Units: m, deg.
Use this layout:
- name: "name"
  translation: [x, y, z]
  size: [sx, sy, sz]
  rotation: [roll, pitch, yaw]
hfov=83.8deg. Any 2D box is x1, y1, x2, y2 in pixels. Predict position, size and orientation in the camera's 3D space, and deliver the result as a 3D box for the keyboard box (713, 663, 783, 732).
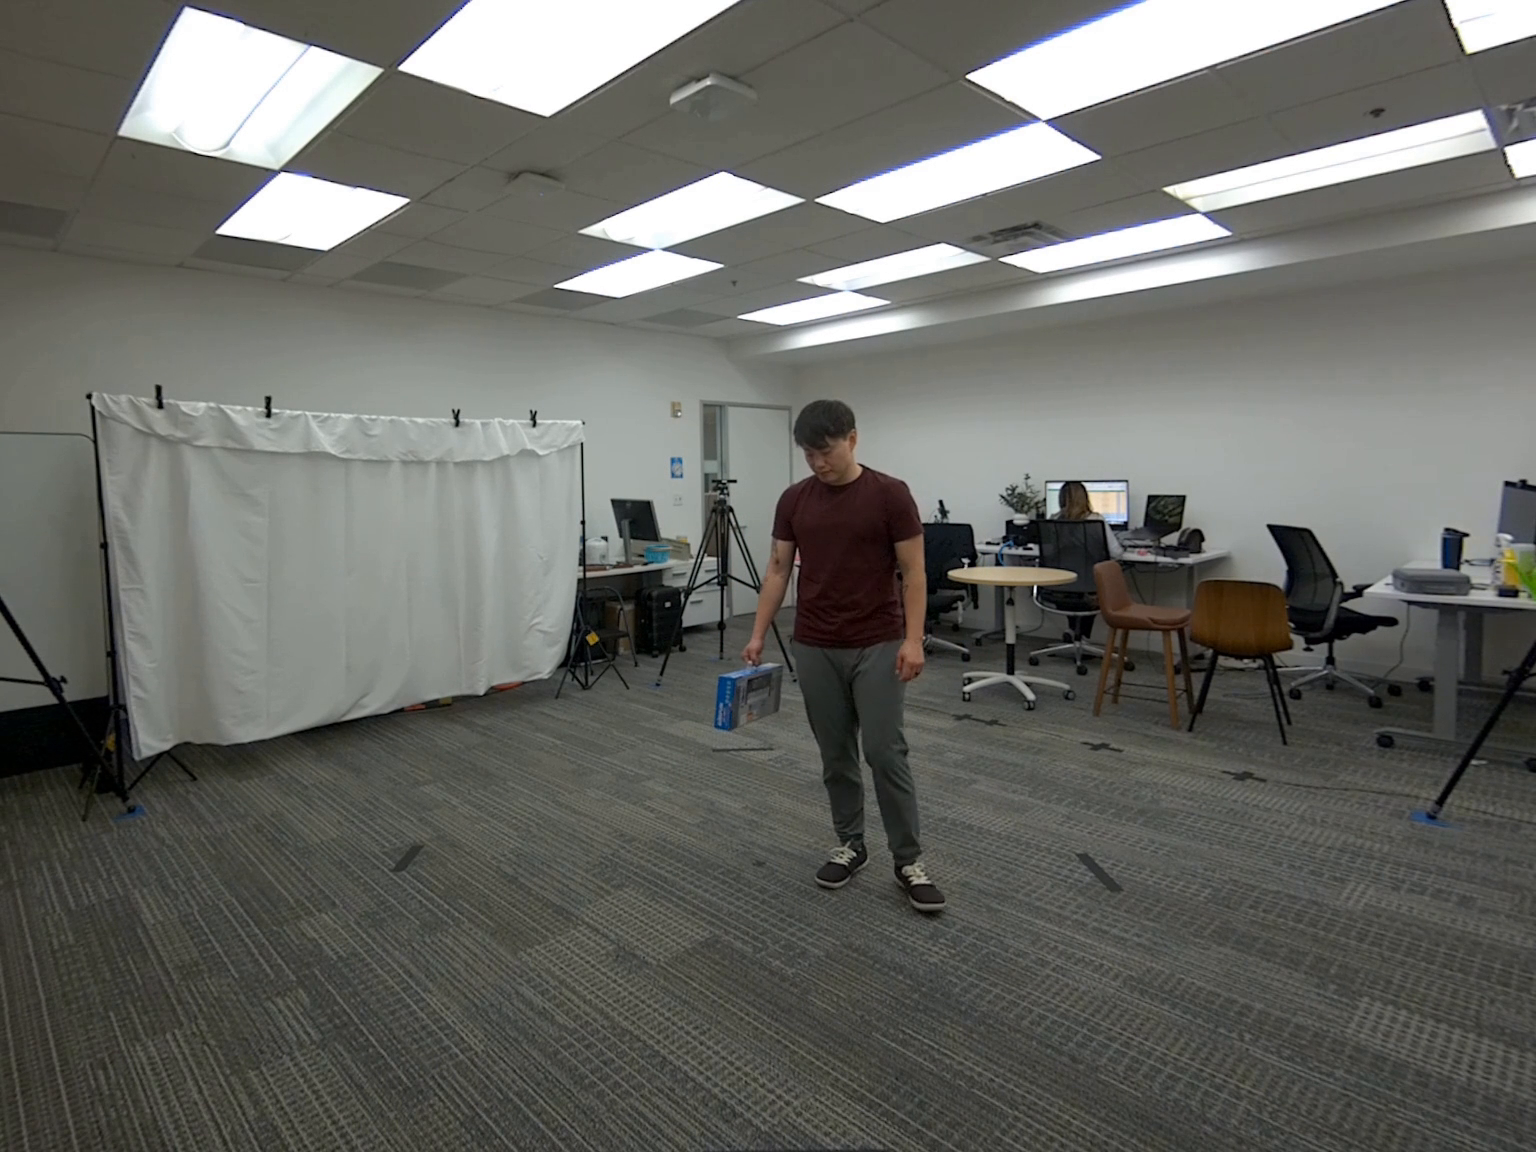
- name: "keyboard box"
  translation: [-0.048, 0.409, 2.941]
  size: [0.060, 0.176, 0.427]
  rotation: [4, 1, 22]
